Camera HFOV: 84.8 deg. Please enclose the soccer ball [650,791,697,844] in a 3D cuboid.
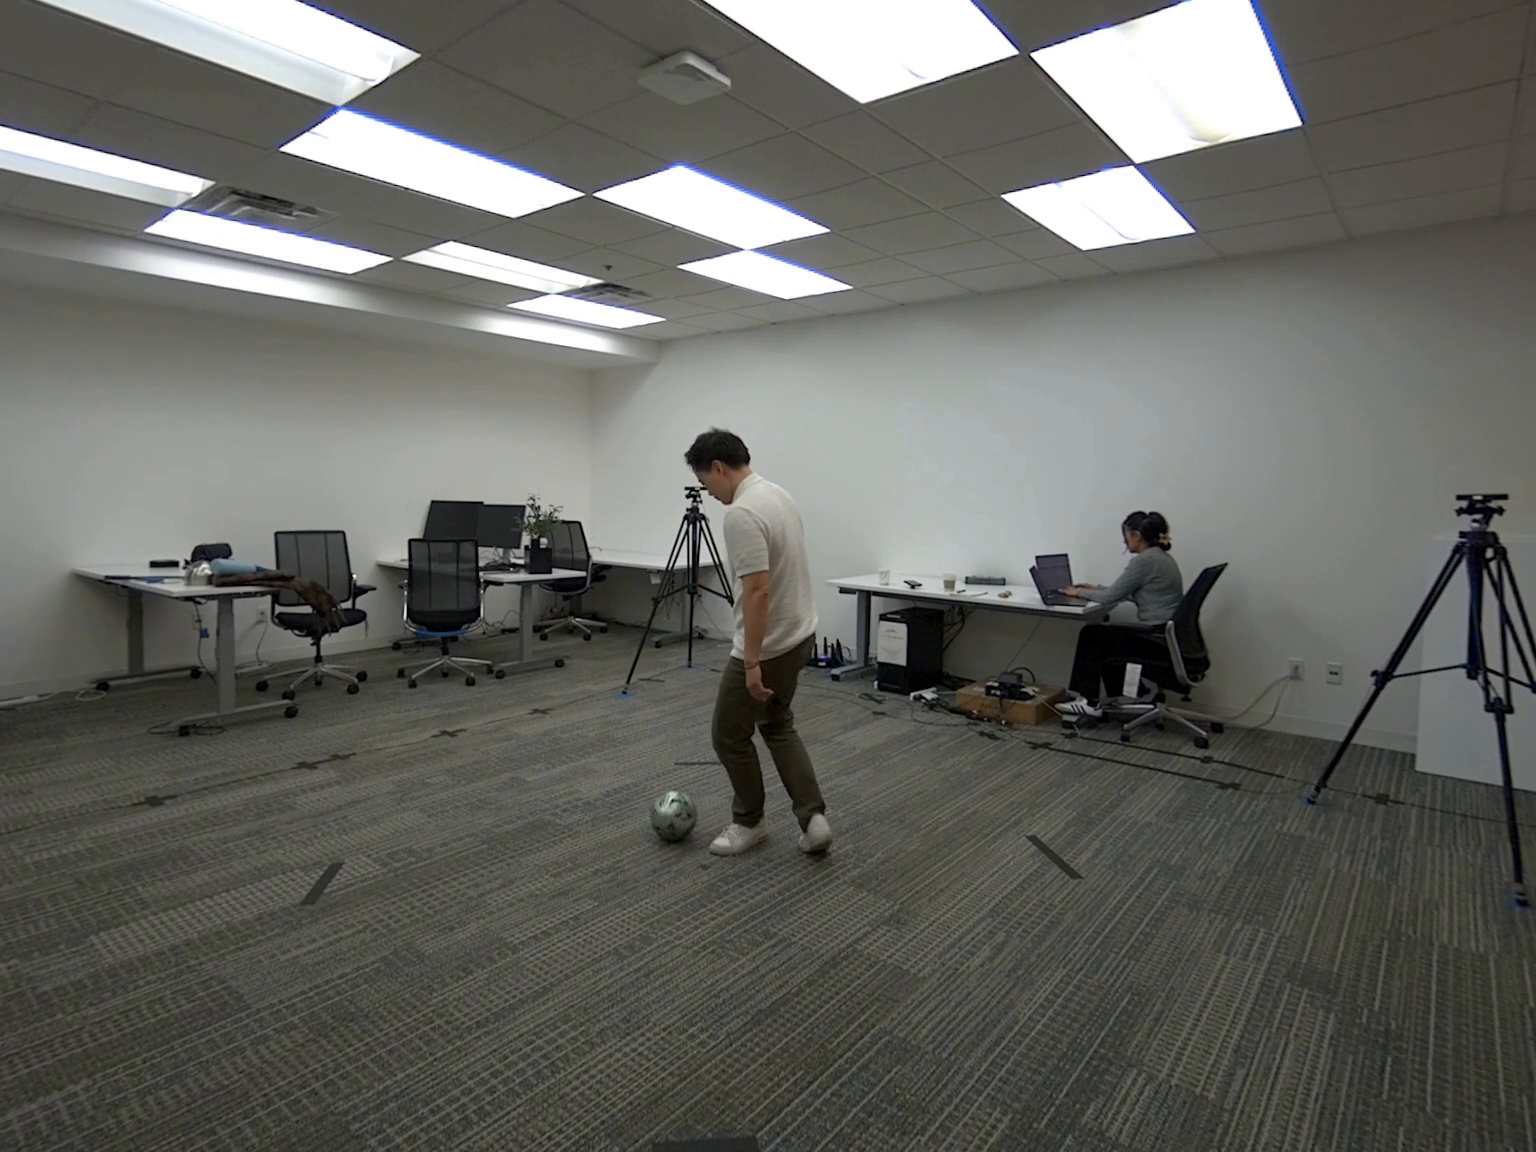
[{"bbox_3d":[-0.380,0.942,3.363,0.187,0.187,0.188,0,4,-2],"label":"soccer ball"}]
